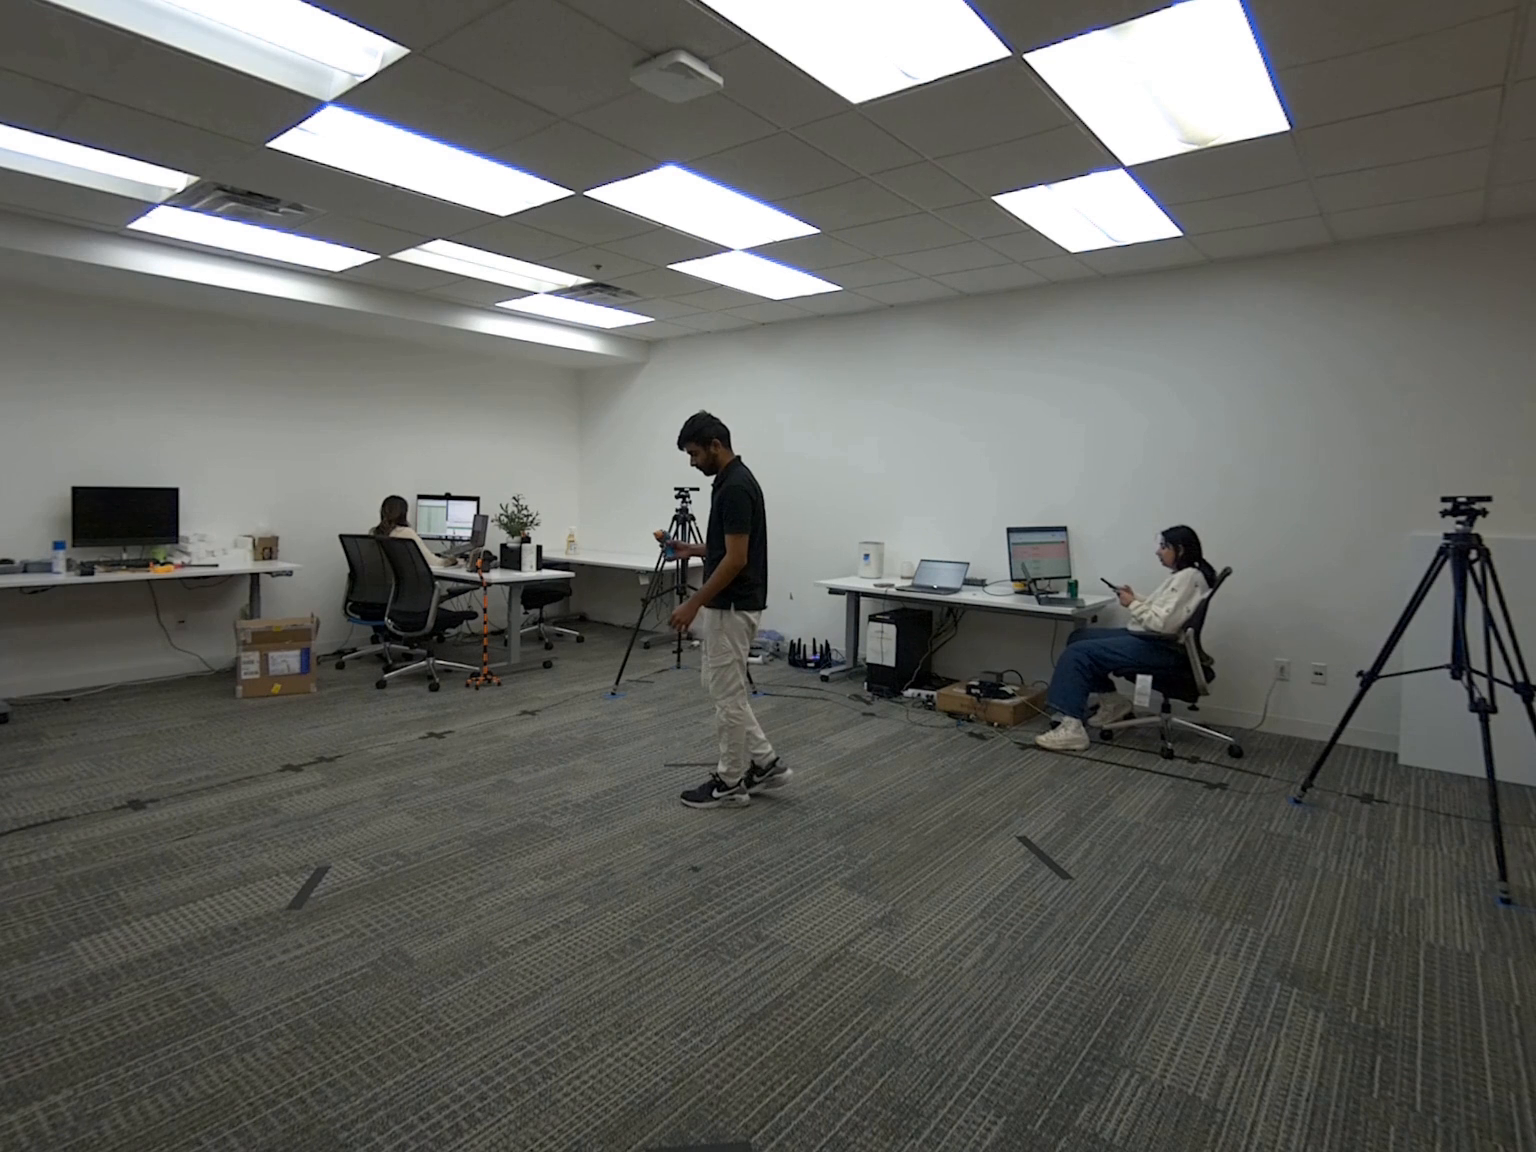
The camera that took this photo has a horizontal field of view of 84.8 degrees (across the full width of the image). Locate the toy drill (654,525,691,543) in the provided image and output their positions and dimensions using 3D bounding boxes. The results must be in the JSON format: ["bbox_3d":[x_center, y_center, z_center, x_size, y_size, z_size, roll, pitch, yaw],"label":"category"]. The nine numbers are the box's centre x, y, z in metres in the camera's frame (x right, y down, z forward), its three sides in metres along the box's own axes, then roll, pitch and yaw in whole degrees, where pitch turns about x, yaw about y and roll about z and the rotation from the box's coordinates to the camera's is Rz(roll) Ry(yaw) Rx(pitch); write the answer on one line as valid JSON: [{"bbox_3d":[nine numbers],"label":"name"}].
[{"bbox_3d":[-0.441,-0.167,3.865,0.146,0.061,0.169,28,-4,-1],"label":"toy drill"}]
